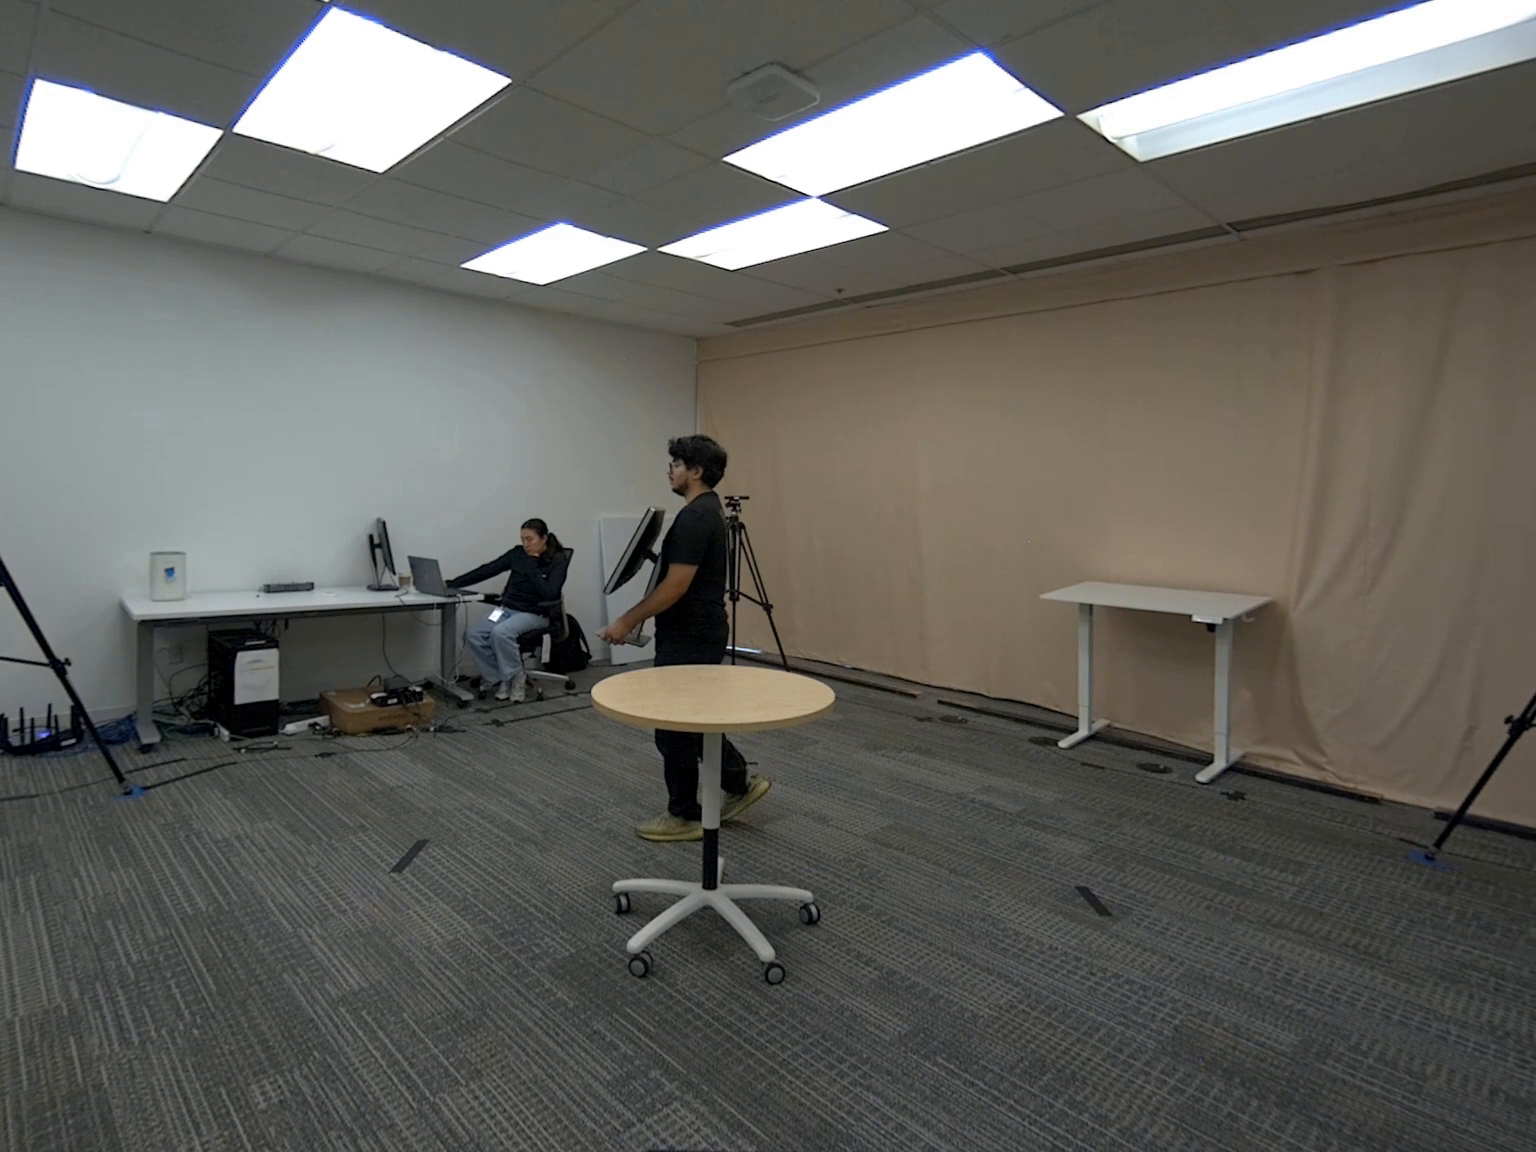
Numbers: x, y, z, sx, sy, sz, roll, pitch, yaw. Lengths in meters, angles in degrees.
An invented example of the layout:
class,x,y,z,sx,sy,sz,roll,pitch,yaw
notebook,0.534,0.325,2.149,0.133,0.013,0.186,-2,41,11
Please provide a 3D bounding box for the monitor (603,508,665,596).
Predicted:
class,x,y,z,sx,sy,sz,roll,pitch,yaw
monitor,-0.496,0.000,3.380,0.209,0.553,0.567,22,2,-4
